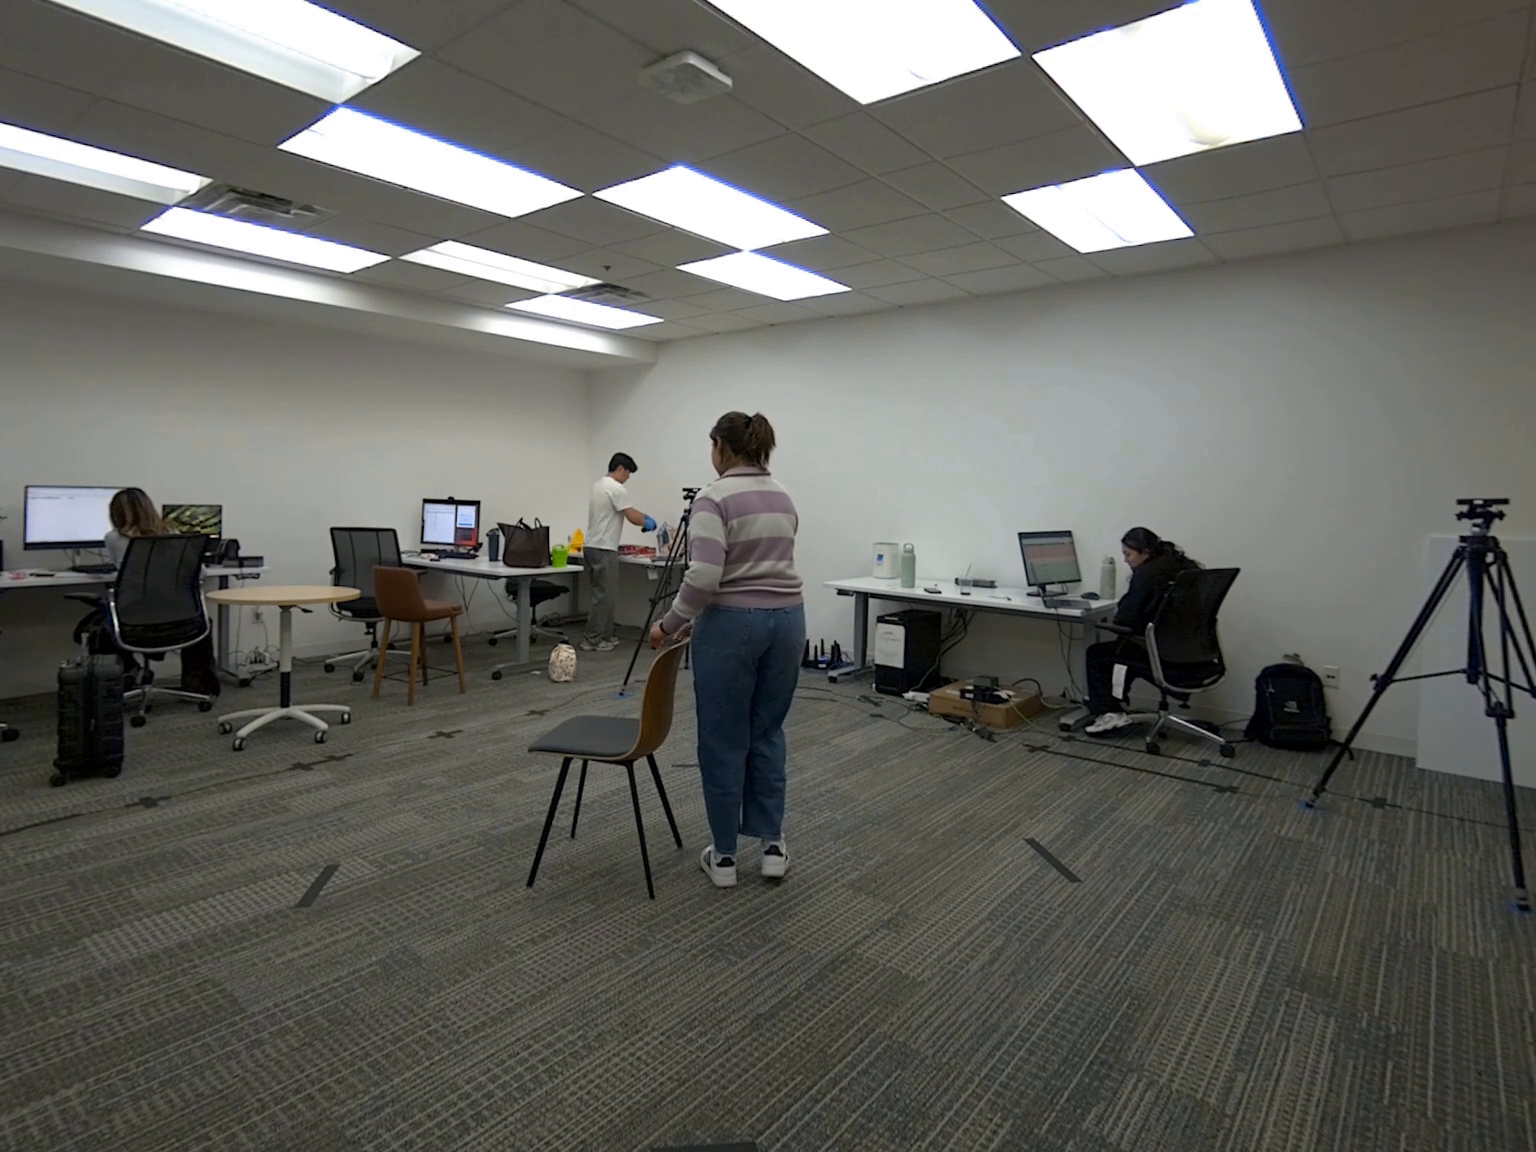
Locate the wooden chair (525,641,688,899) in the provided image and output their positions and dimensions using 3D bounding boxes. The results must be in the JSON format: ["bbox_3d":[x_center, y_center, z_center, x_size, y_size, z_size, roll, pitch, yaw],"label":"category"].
[{"bbox_3d":[-0.597,0.636,3.102,0.529,0.875,0.474,6,4,9],"label":"wooden chair"}]
